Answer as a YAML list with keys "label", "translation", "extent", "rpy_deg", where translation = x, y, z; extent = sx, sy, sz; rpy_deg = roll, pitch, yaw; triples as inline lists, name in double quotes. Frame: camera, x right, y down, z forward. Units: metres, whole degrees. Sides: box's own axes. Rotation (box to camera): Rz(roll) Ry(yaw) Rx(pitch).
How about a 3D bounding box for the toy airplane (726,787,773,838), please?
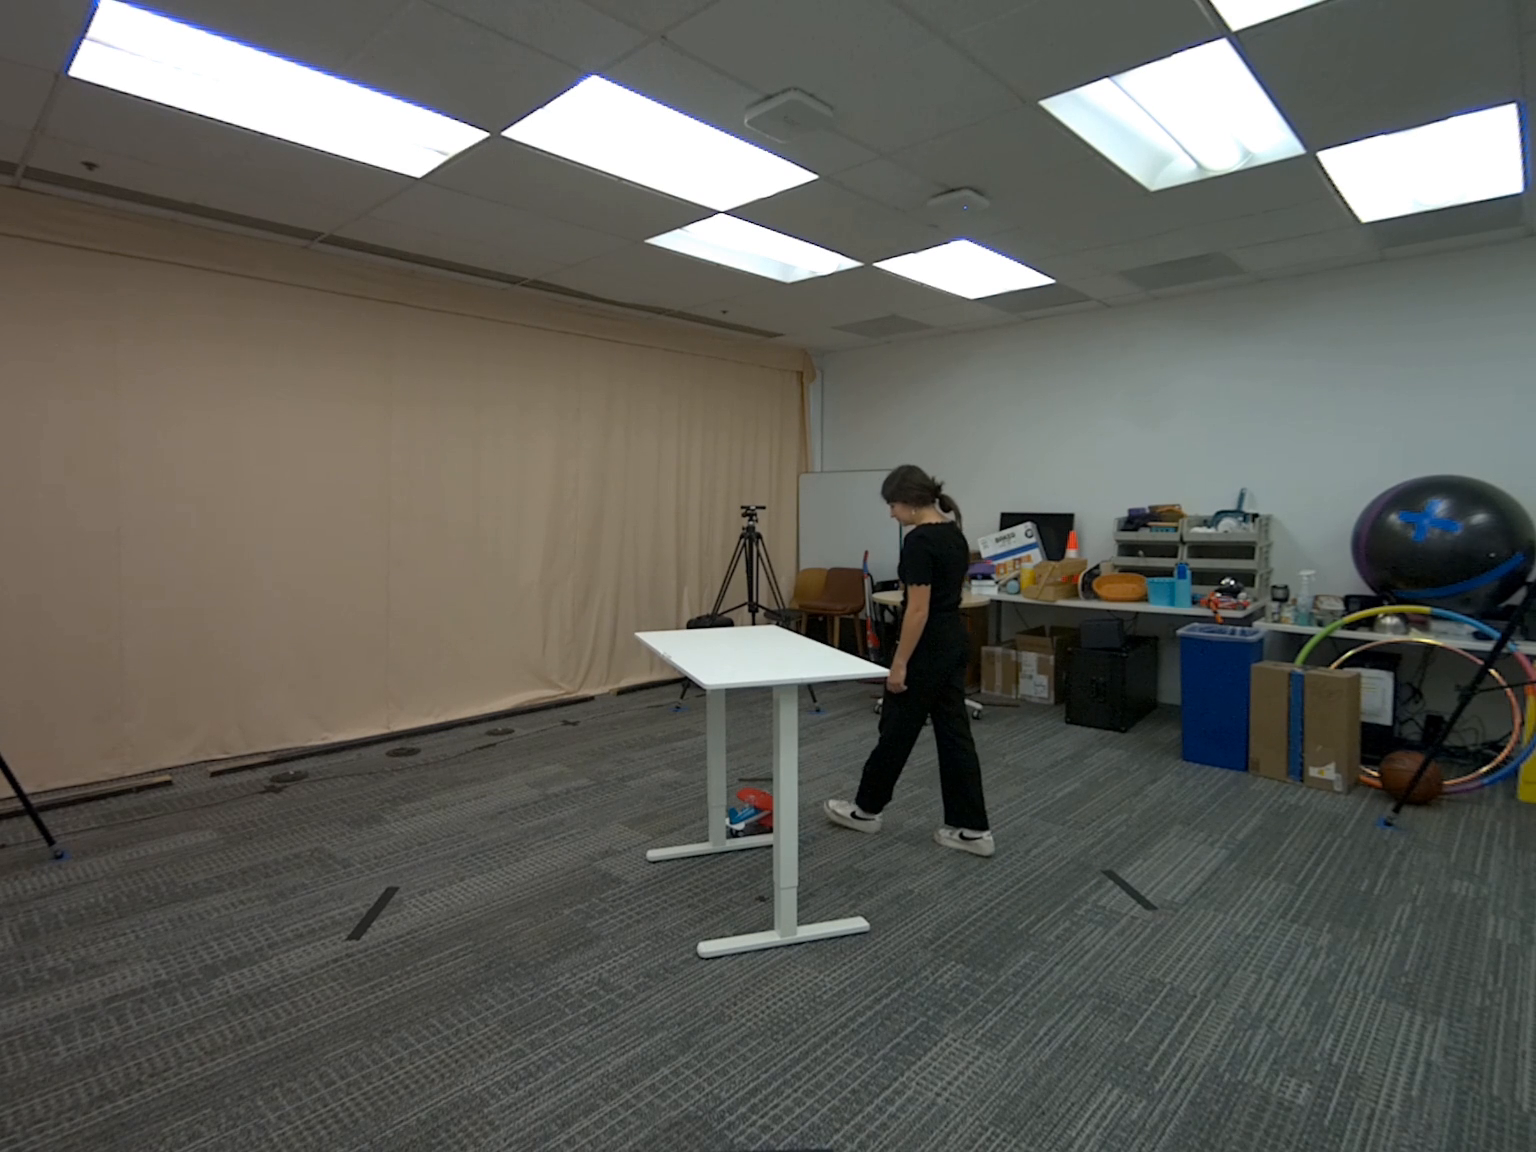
- label: "toy airplane"
  translation: [-0.046, 1.027, 3.577]
  extent: [0.257, 0.156, 0.253]
  rpy_deg: [2, 3, 24]
